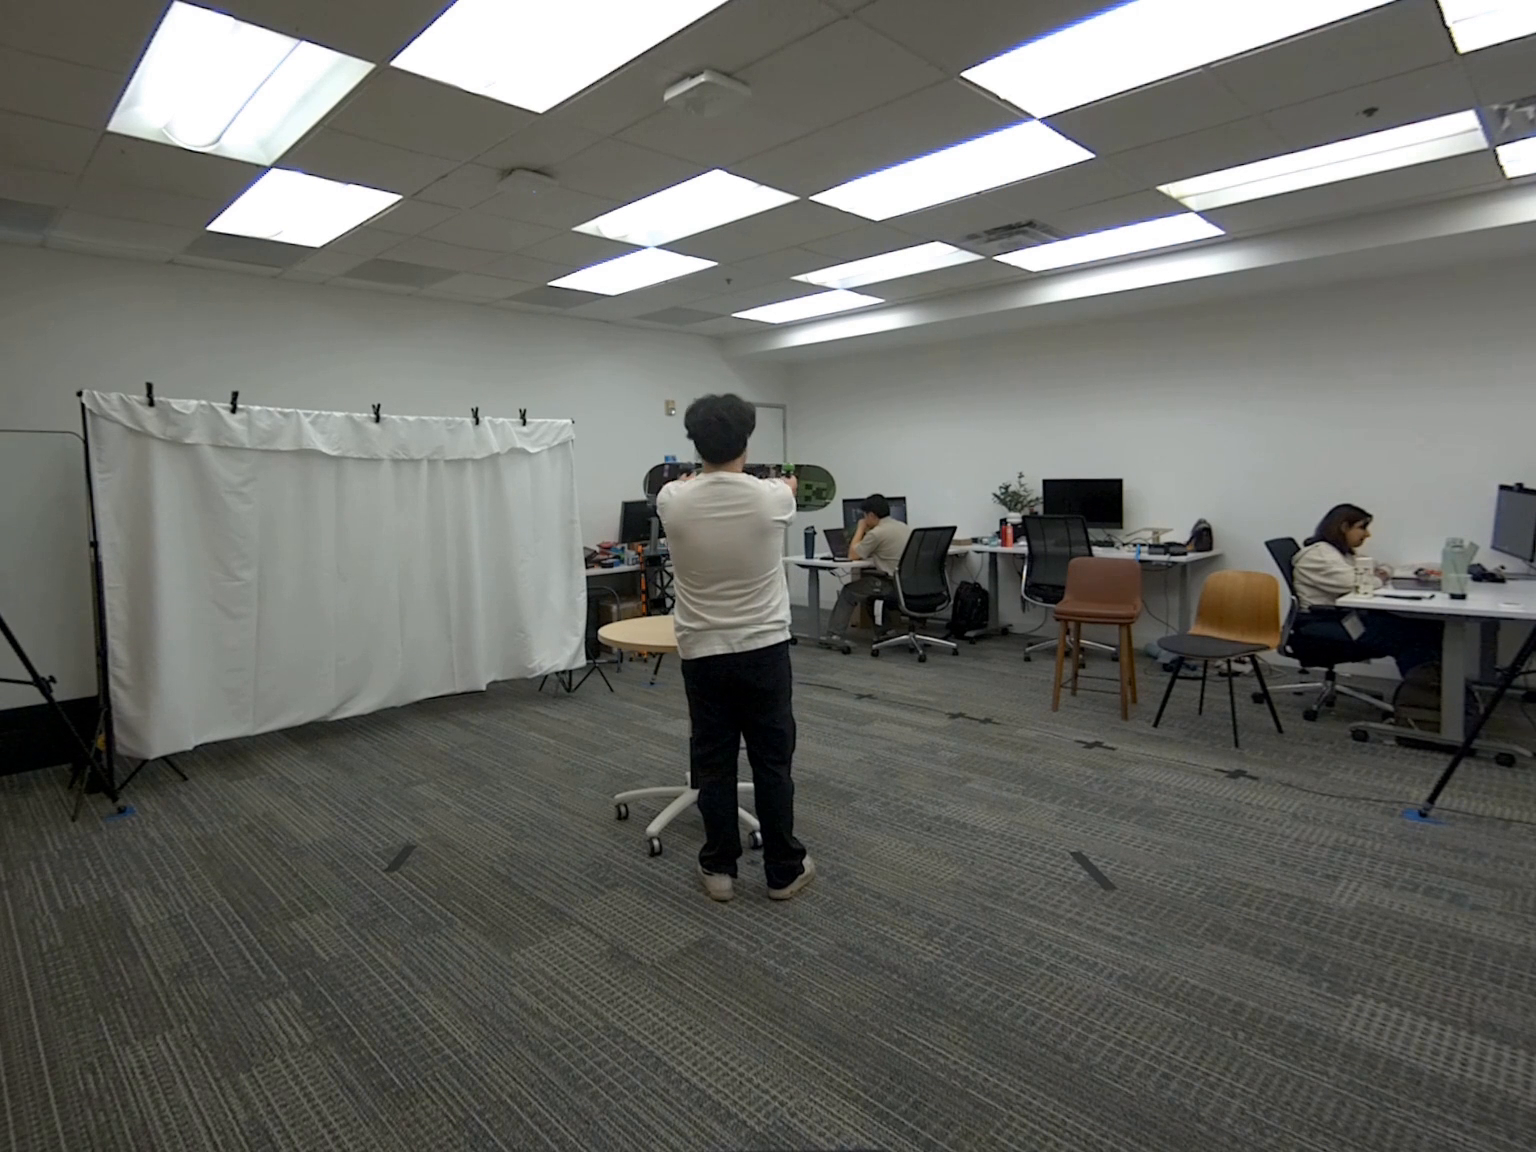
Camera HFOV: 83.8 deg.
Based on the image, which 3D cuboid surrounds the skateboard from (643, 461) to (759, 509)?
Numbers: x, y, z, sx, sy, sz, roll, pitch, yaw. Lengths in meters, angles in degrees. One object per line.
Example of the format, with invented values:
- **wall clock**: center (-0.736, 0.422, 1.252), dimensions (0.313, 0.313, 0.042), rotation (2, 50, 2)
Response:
- **skateboard**: center (-0.115, -0.360, 3.444), dimensions (0.789, 0.193, 0.110), rotation (1, 1, 4)
